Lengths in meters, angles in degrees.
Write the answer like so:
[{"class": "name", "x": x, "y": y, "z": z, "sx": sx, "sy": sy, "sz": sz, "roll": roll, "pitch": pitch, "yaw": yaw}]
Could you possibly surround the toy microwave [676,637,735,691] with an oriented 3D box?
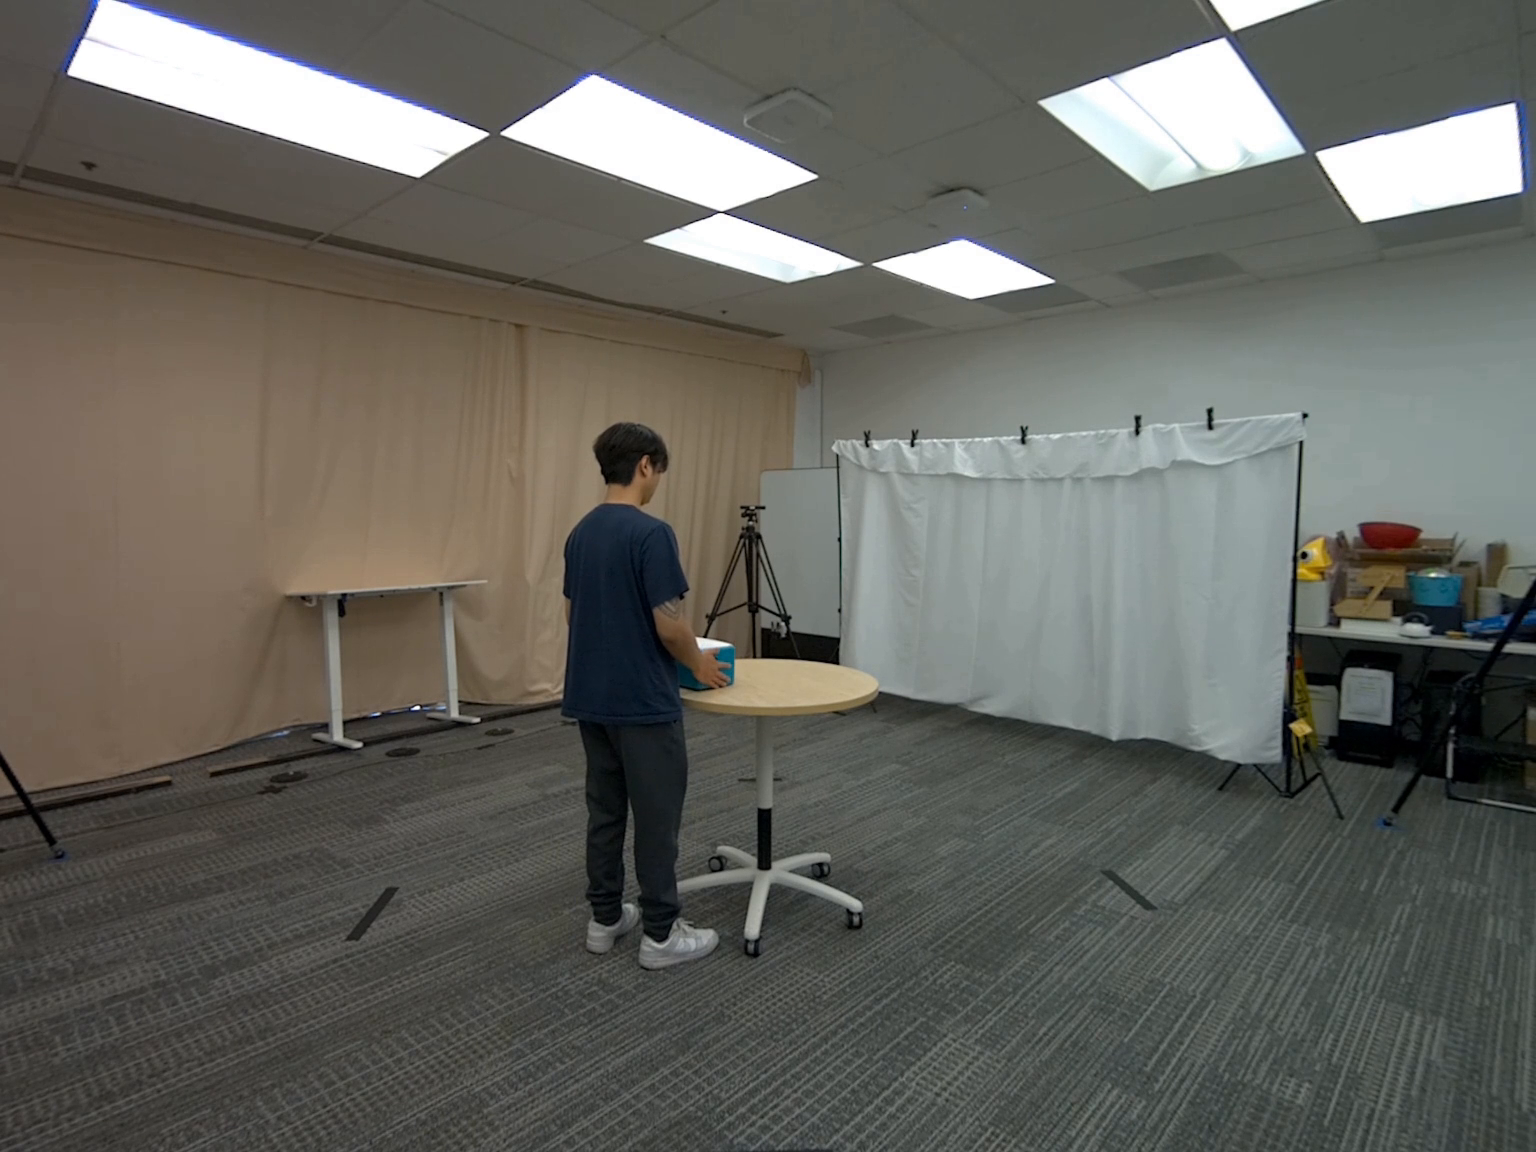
[{"class": "toy microwave", "x": -0.253, "y": 0.282, "z": 2.838, "sx": 0.296, "sy": 0.152, "sz": 0.178, "roll": 5, "pitch": 4, "yaw": 43}]
